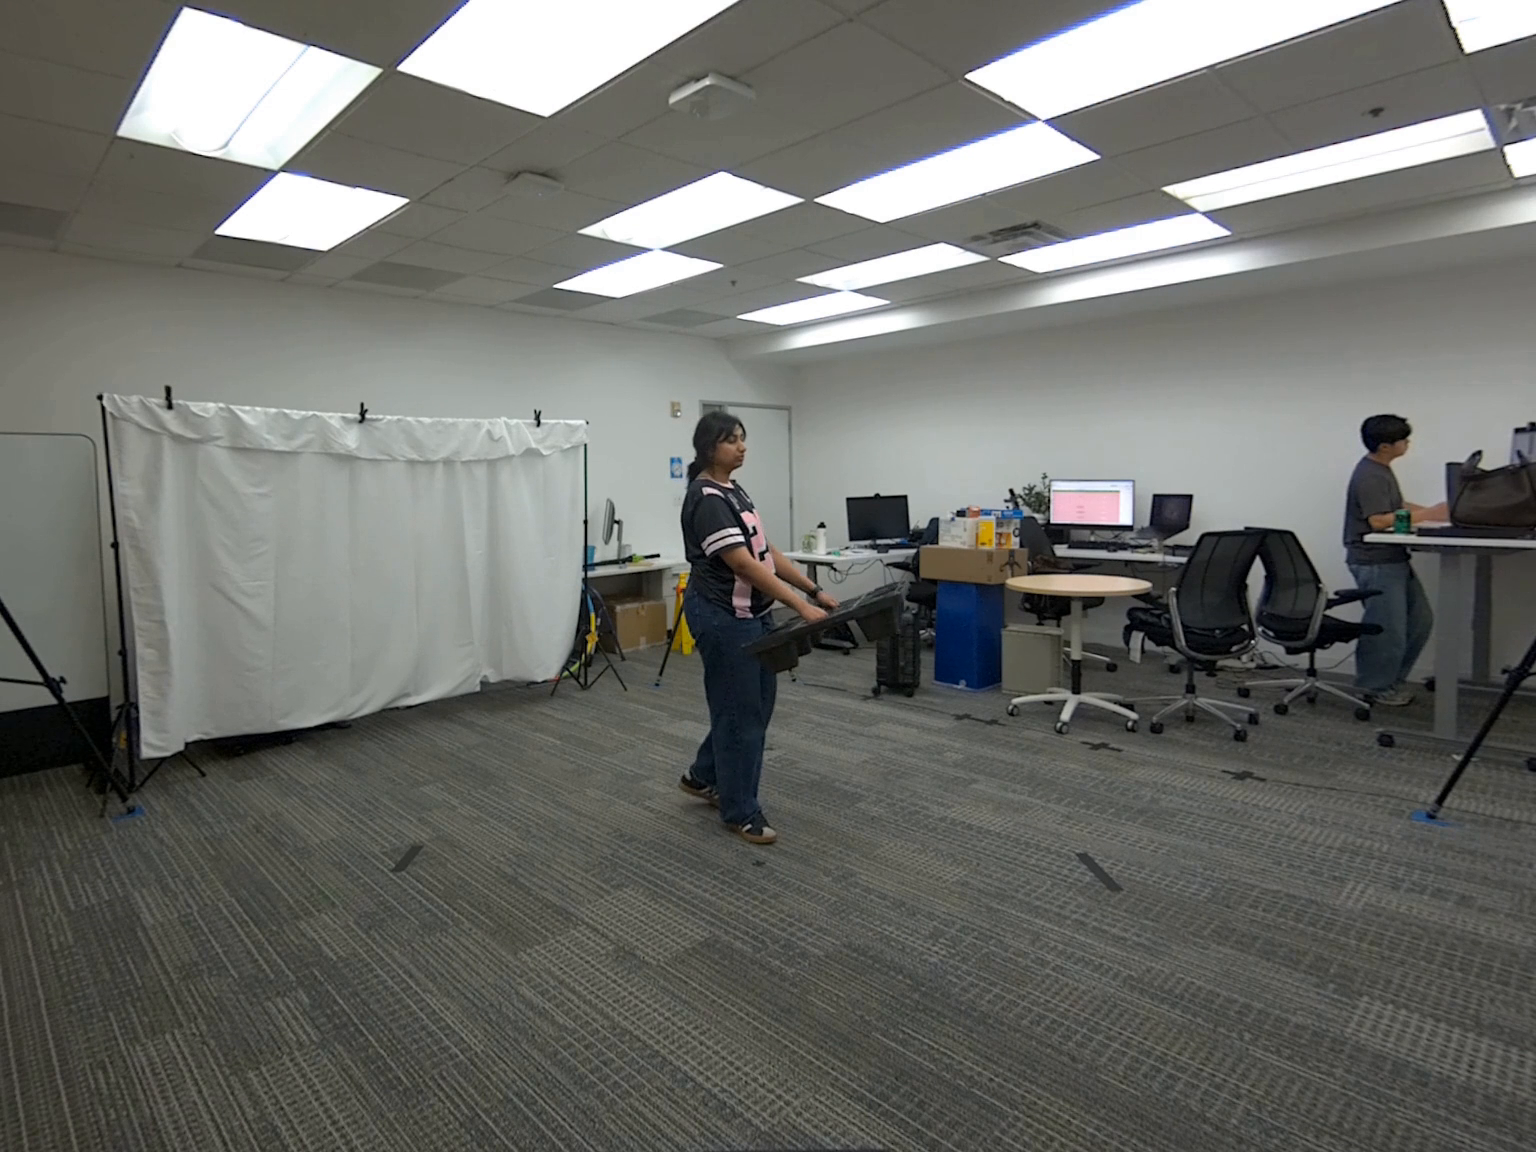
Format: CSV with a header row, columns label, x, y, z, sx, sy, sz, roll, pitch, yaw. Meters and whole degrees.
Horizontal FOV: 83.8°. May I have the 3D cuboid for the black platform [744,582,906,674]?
label,x,y,z,sx,sy,sz,roll,pitch,yaw
black platform,0.278,0.192,3.320,0.610,0.144,0.797,-20,0,13
